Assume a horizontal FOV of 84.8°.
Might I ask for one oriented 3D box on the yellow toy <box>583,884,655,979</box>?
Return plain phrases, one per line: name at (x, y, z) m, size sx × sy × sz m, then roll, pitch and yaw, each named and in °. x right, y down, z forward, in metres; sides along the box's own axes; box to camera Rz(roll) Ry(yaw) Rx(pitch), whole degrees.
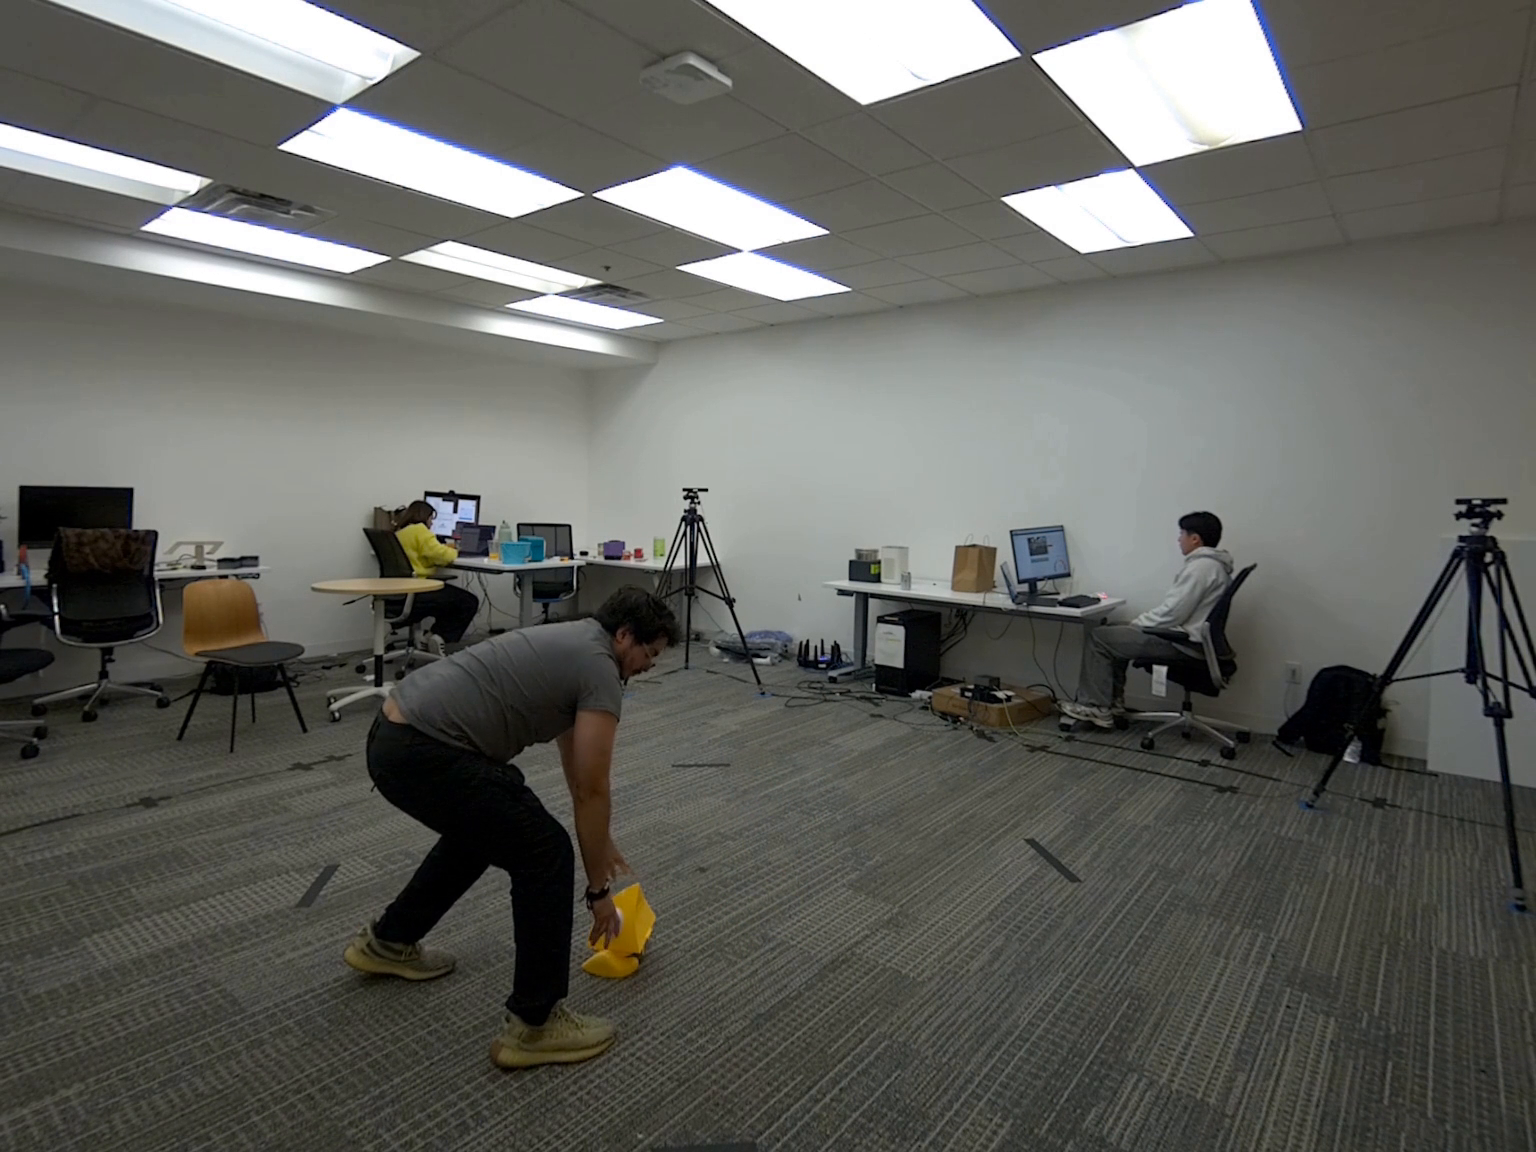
yellow toy at (-0.450, 1.010, 2.503) m, size 0.194 × 0.230 × 0.204 m, roll 1°, pitch 4°, yaw 6°
